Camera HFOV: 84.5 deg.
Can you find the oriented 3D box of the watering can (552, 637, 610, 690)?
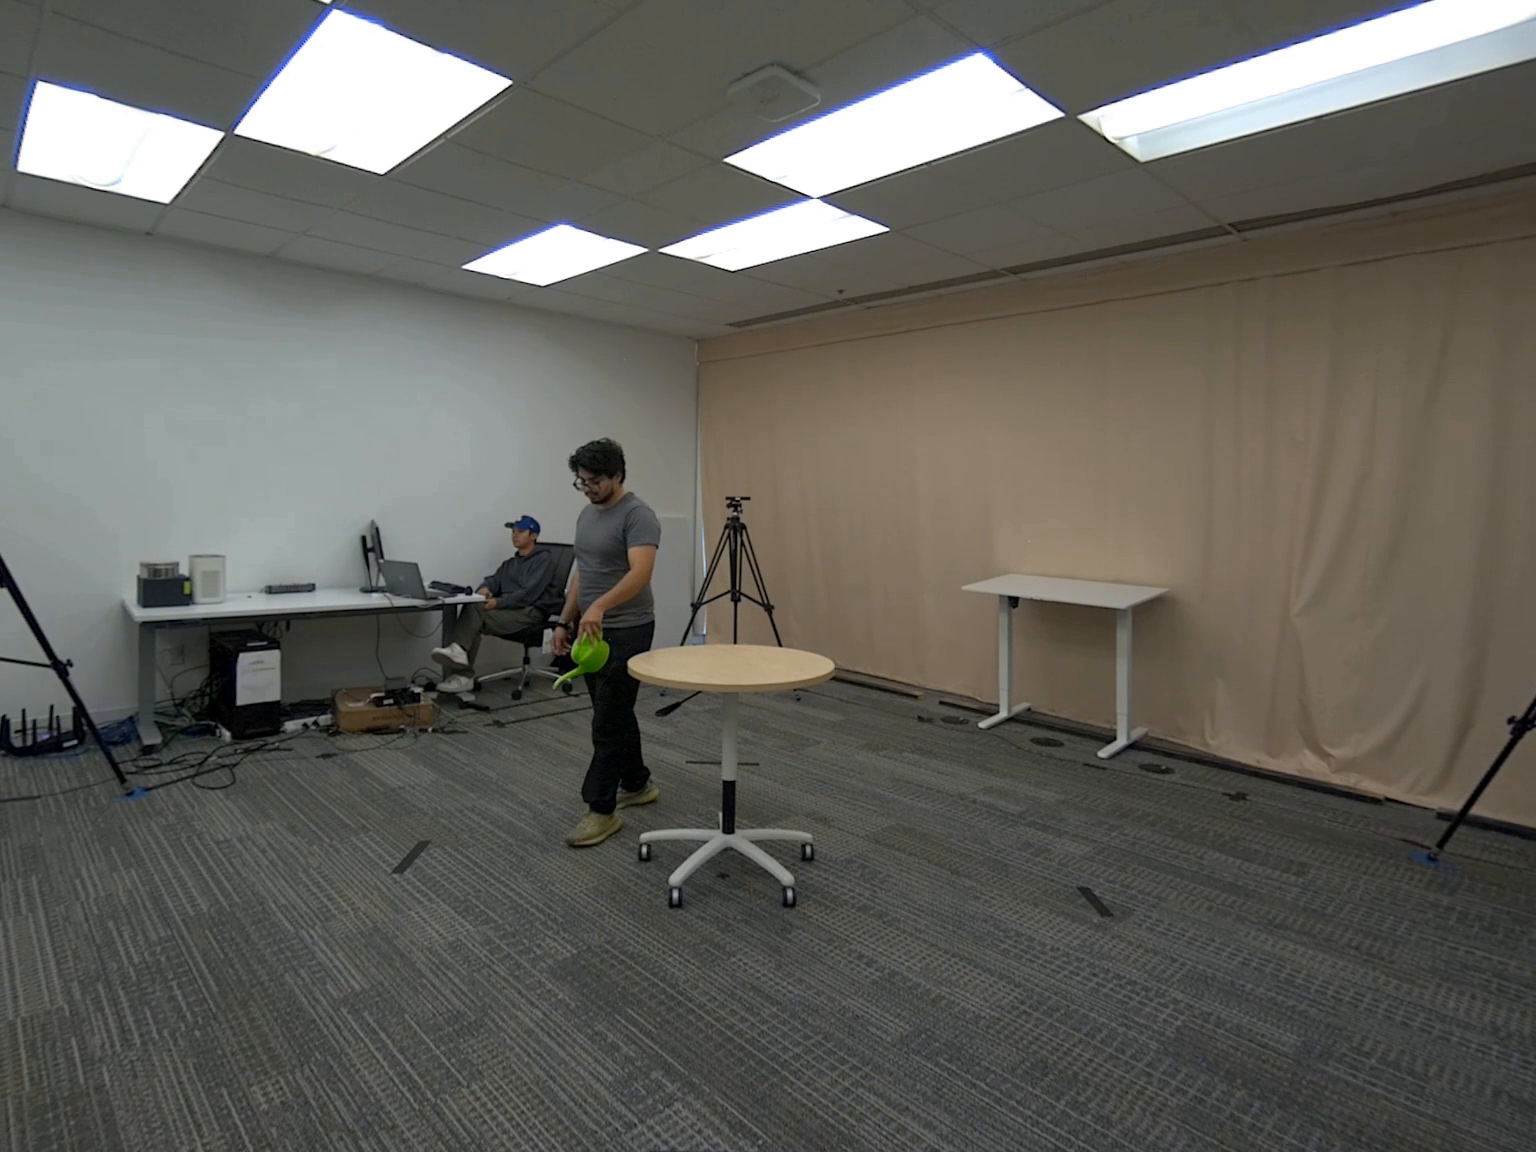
[{"bbox_3d":[-0.731,0.310,3.182,0.100,0.278,0.173,40,-11,23],"label":"watering can"}]
